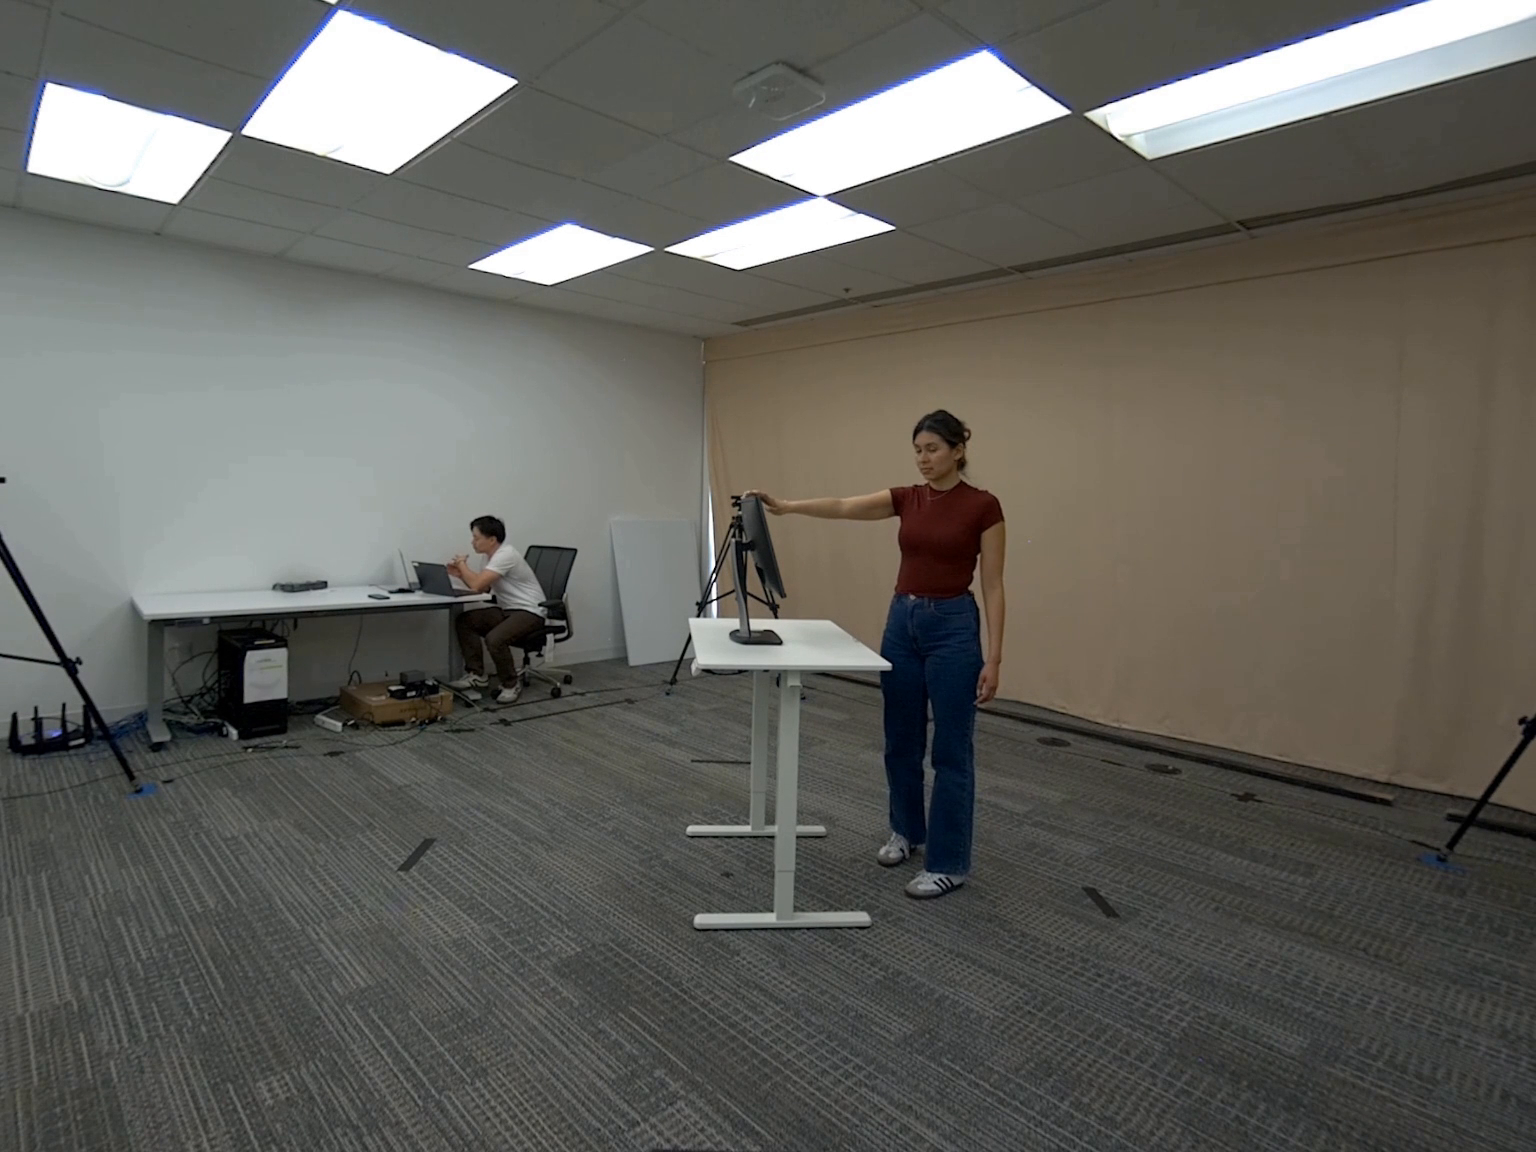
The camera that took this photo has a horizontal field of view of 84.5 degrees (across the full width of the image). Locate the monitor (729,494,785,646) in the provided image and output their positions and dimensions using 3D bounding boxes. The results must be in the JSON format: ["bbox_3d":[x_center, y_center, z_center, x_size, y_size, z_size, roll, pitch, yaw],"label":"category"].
[{"bbox_3d":[-0.057,-0.024,3.033,0.186,0.521,0.544,-1,4,-9],"label":"monitor"}]
